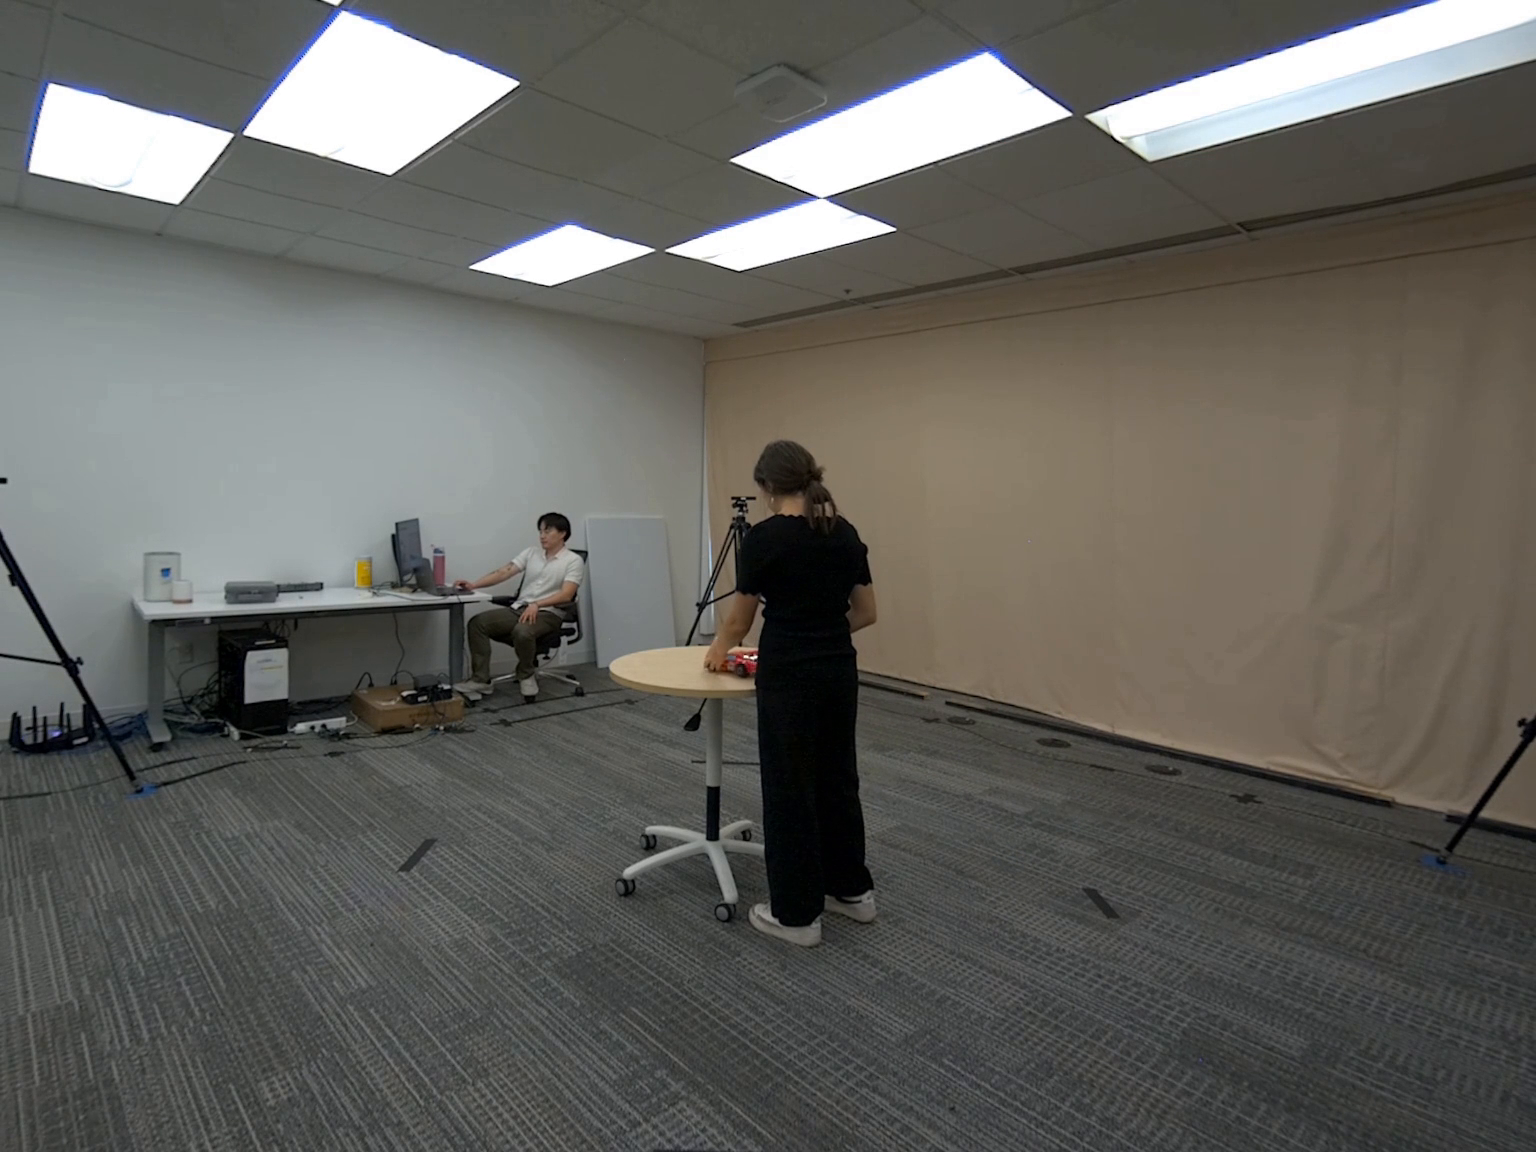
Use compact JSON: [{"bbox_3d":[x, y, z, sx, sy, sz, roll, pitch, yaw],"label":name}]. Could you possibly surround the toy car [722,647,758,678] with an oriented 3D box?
[{"bbox_3d":[-0.104,0.309,2.927,0.259,0.083,0.127,-9,-2,41],"label":"toy car"}]
